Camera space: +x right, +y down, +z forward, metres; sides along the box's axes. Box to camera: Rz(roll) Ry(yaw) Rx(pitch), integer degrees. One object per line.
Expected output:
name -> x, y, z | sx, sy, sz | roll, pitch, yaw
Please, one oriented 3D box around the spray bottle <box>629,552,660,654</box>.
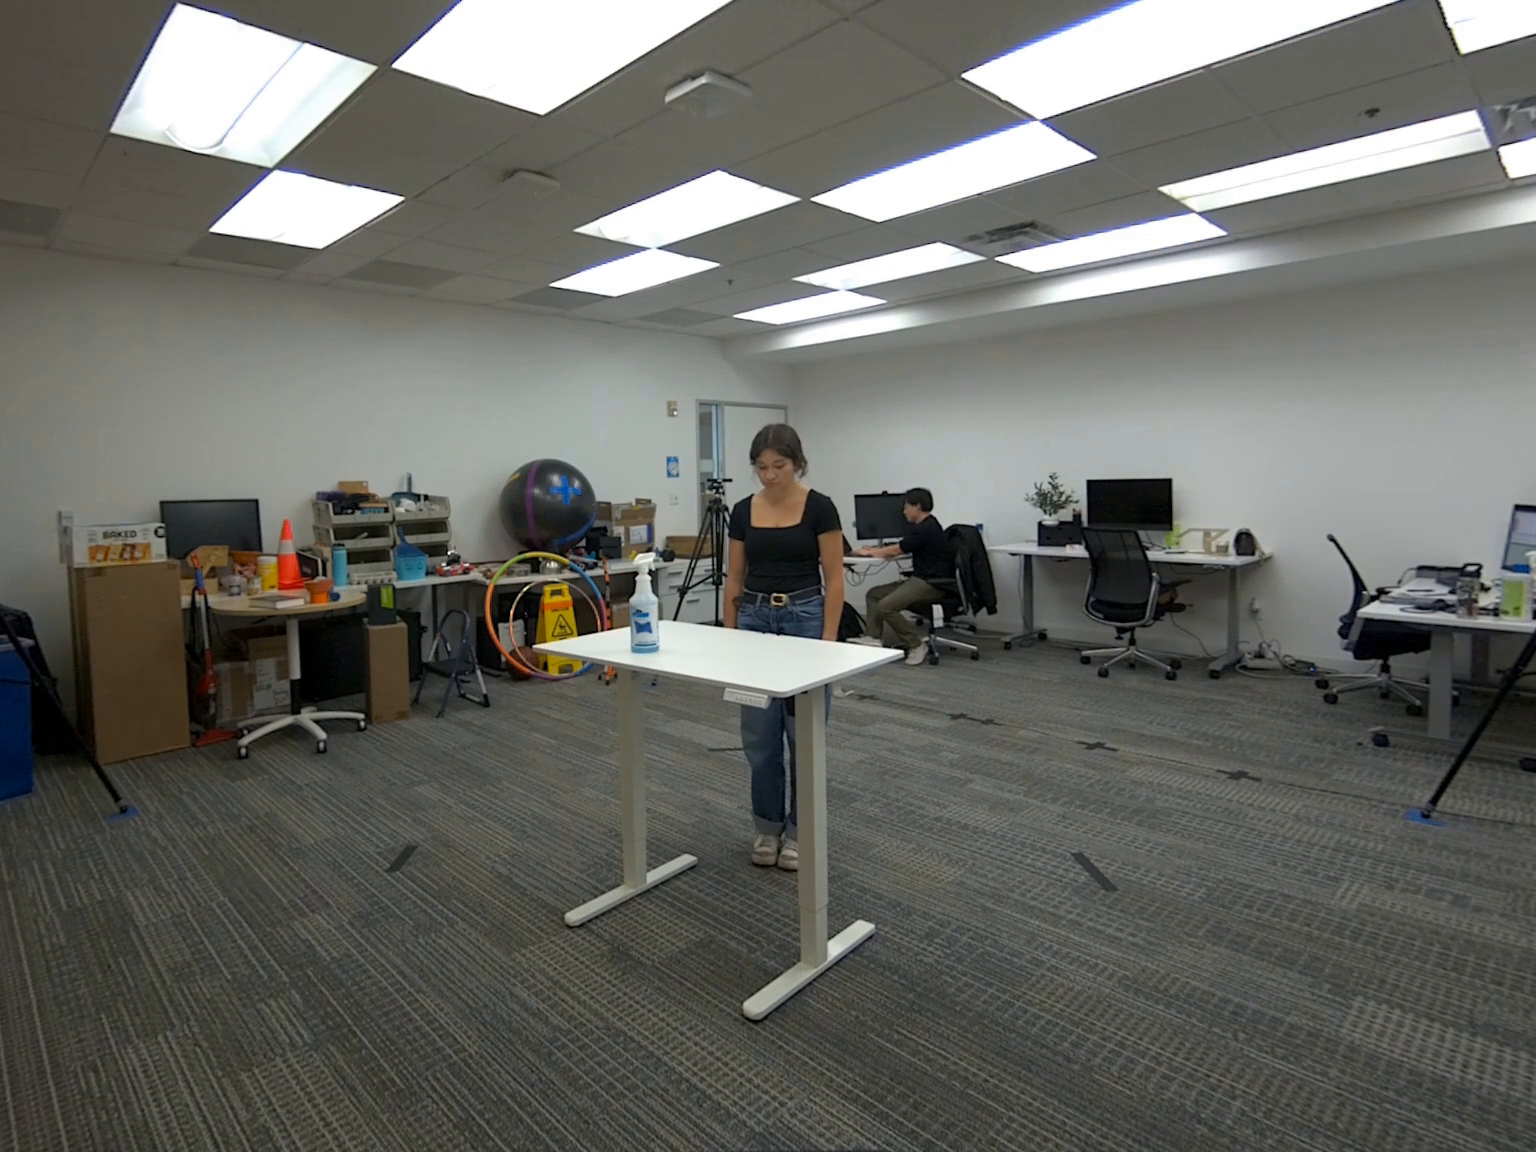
spray bottle -> -0.375, 0.082, 2.591 | 0.088, 0.296, 0.089 | -2, 4, -28
